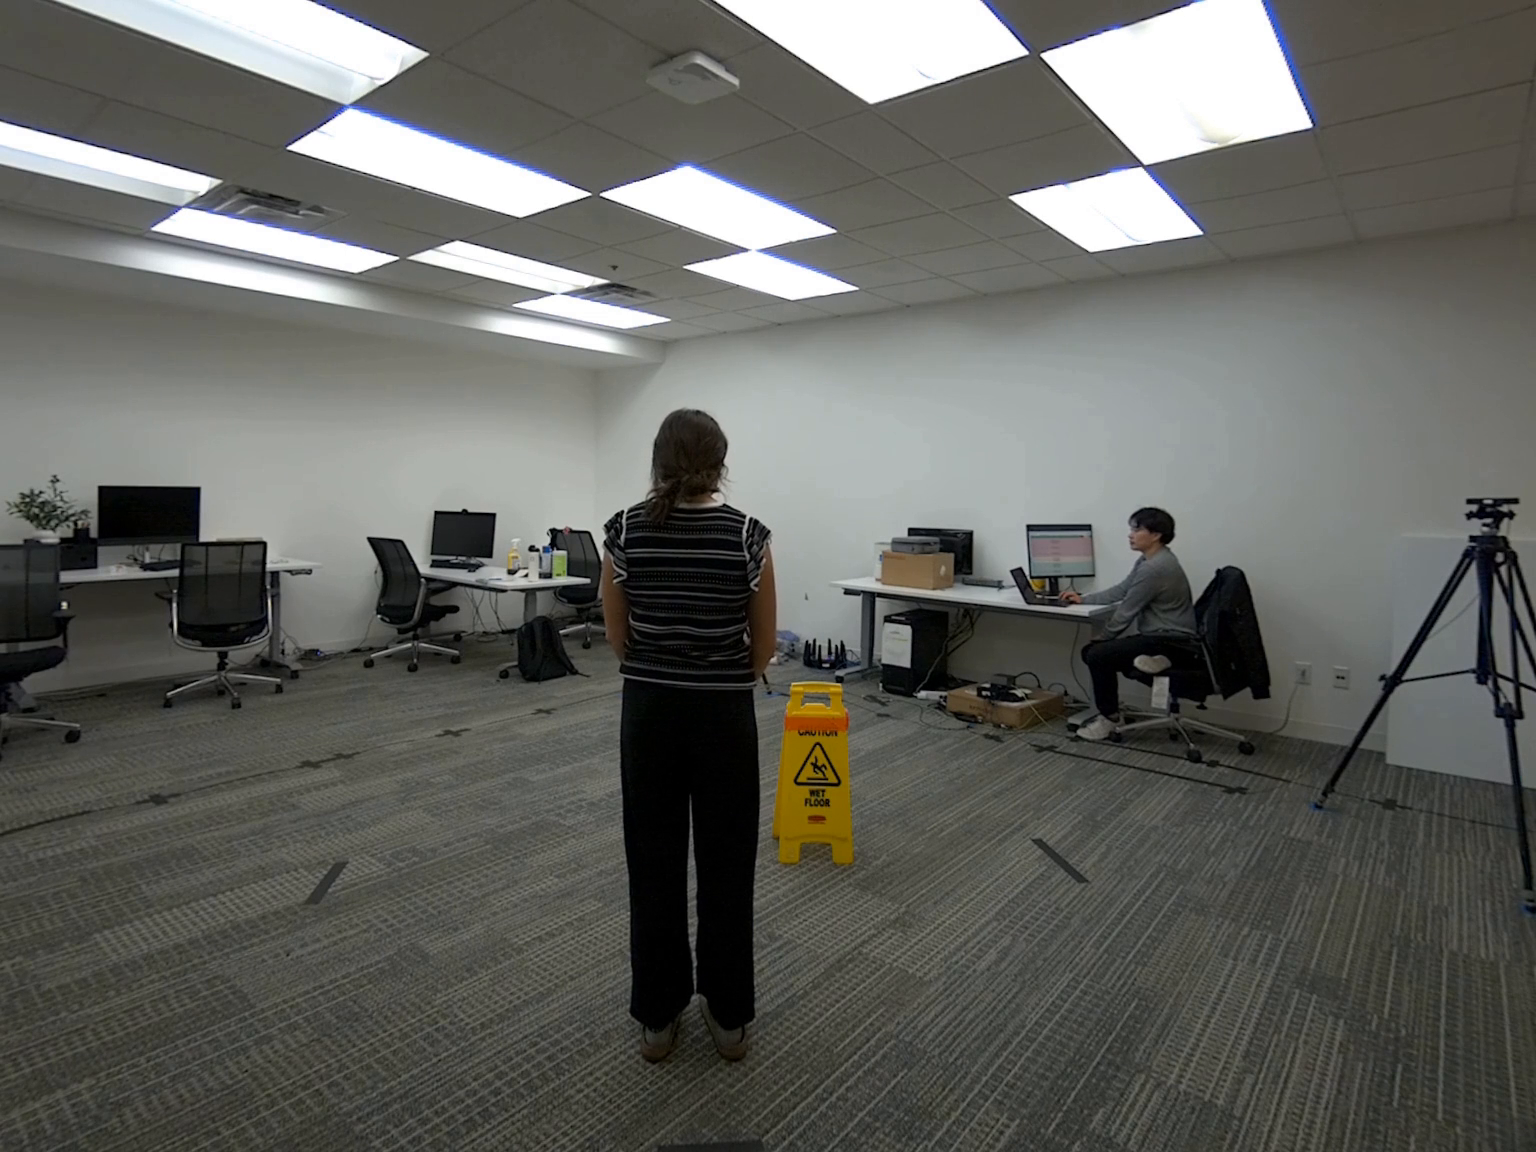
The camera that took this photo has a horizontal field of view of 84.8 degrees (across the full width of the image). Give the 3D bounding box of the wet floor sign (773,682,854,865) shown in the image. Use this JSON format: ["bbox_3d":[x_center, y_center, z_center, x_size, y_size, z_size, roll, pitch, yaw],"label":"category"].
[{"bbox_3d":[0.166,0.734,3.275,0.281,0.643,0.292,0,5,-4],"label":"wet floor sign"}]
